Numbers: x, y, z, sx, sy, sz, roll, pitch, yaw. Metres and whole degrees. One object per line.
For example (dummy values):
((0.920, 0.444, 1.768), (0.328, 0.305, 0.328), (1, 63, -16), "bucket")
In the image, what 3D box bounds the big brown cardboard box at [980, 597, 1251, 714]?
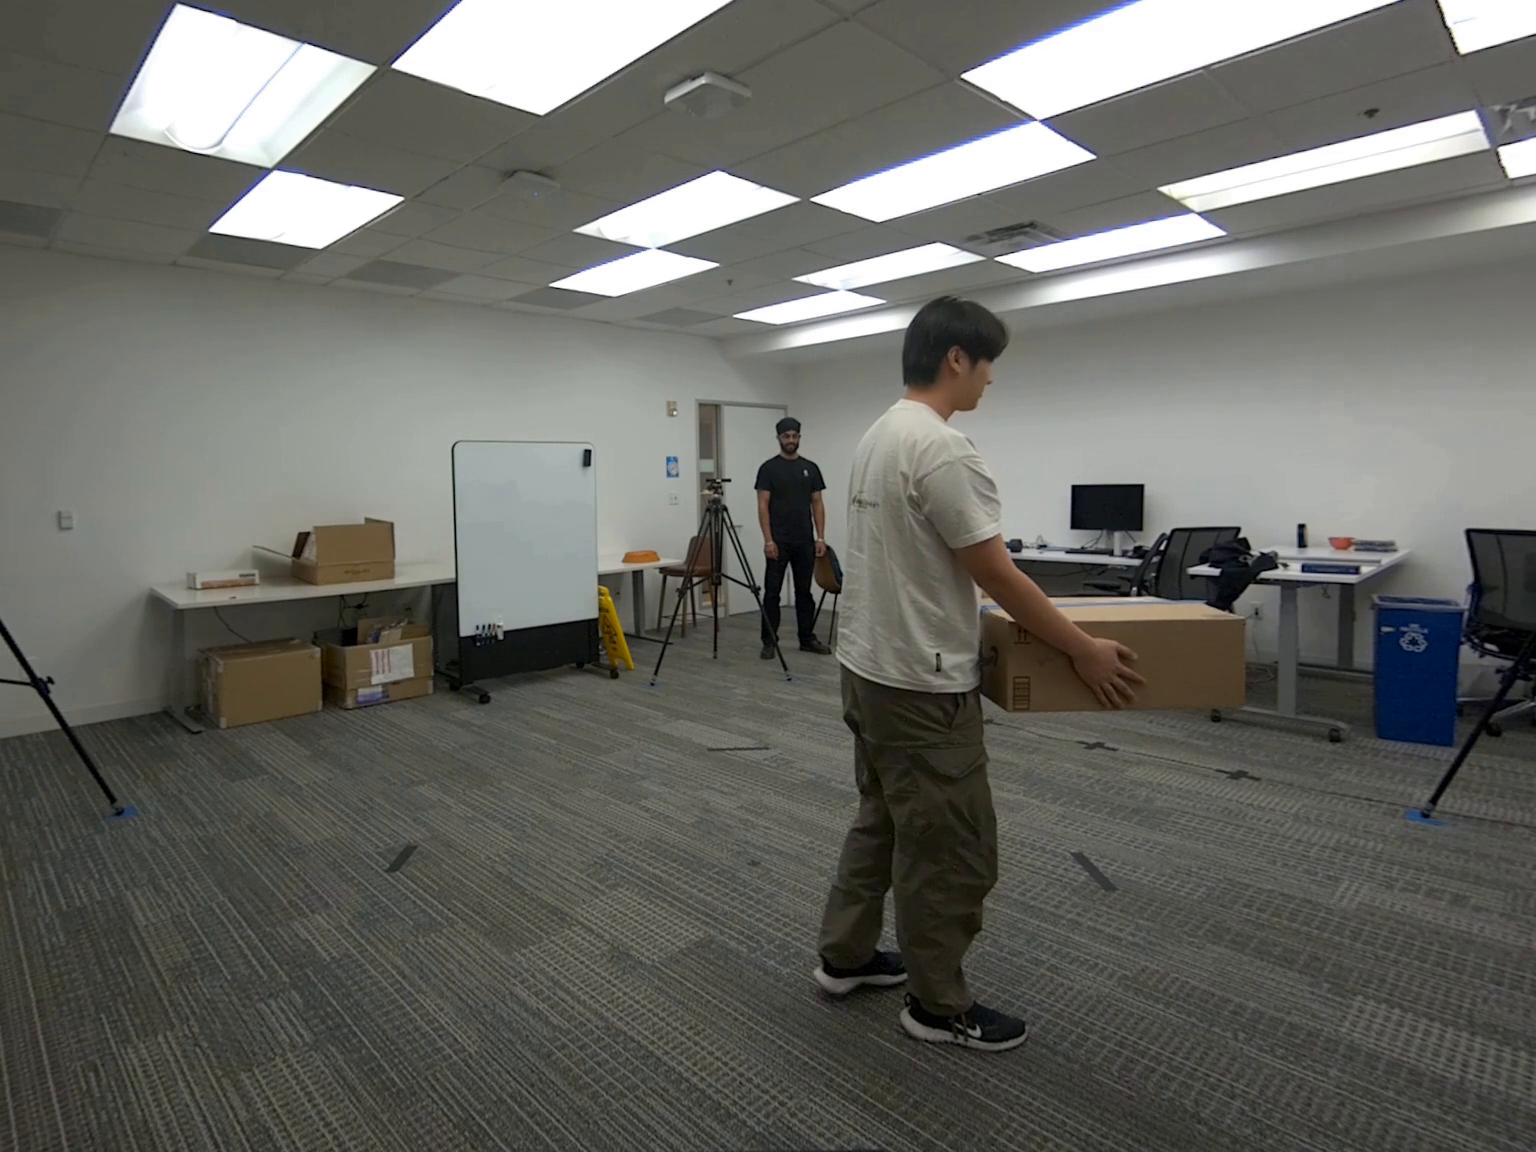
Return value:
((0.819, 0.184, 2.183), (0.587, 0.232, 0.421), (-2, 5, -4), "big brown cardboard box")
